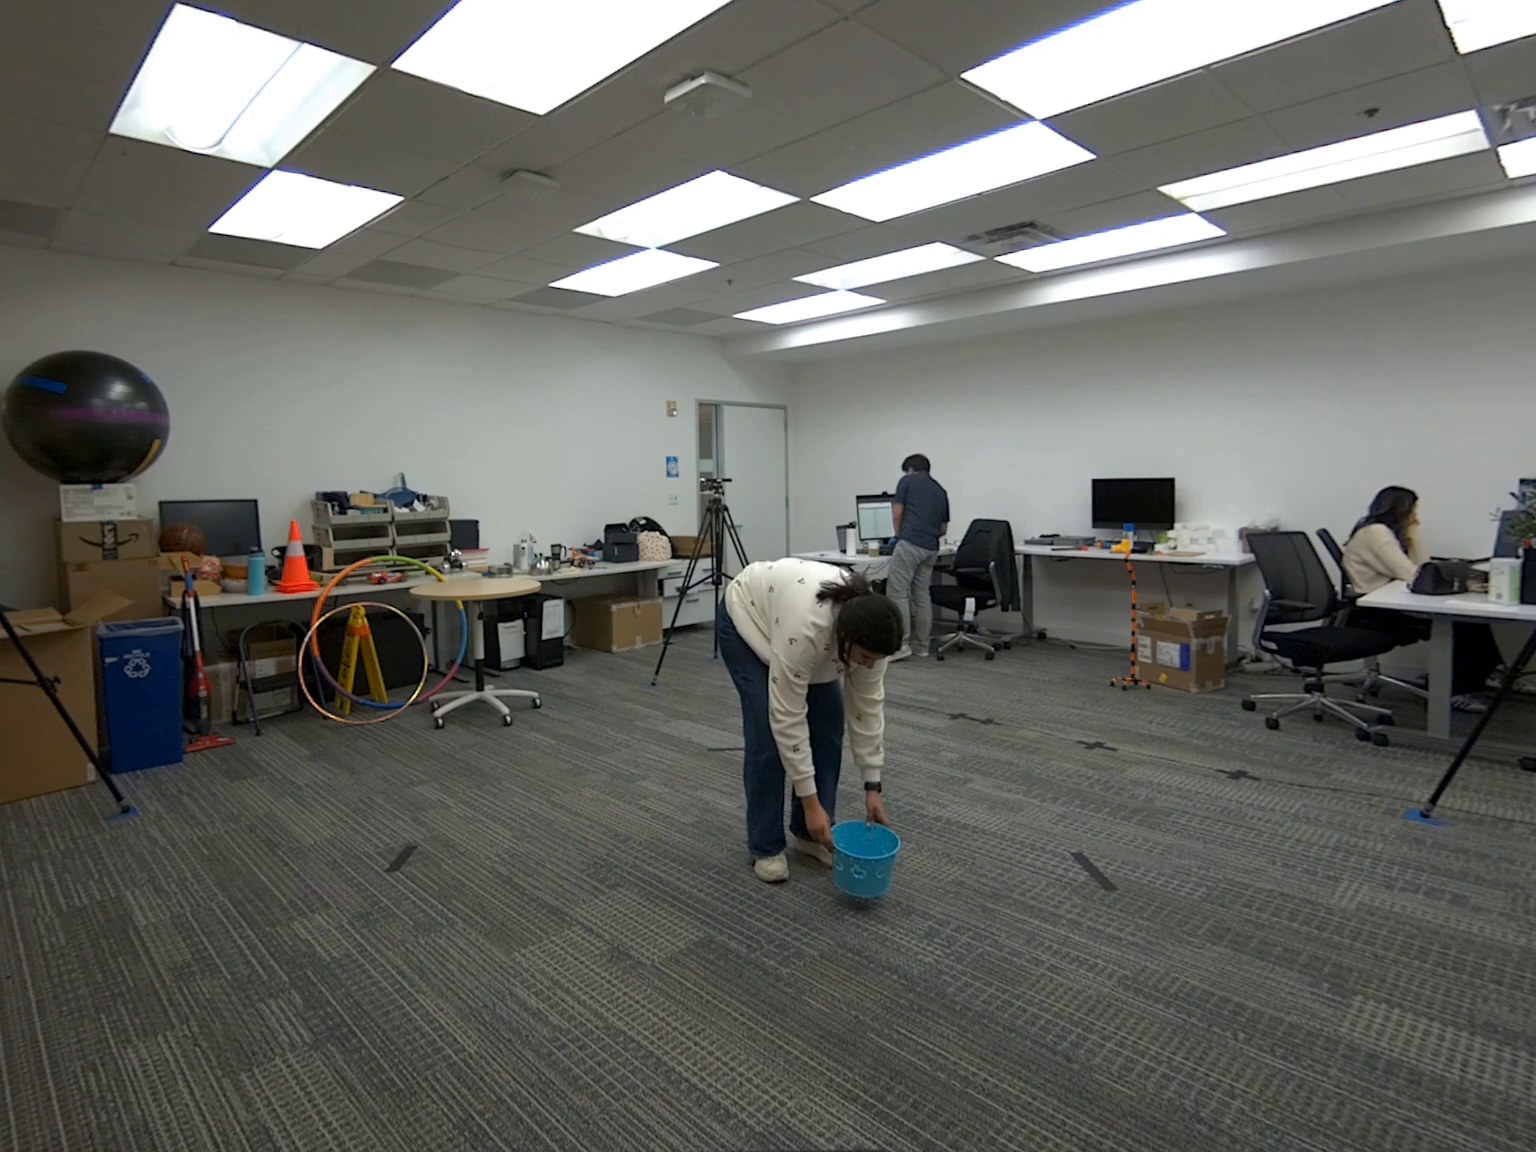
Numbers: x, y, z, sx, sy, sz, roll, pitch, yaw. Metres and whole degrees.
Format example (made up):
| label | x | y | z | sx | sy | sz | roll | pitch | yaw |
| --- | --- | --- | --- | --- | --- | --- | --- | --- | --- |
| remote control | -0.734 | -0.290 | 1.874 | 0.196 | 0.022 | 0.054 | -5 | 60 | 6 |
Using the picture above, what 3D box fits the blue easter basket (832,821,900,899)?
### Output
| label | x | y | z | sx | sy | sz | roll | pitch | yaw |
| --- | --- | --- | --- | --- | --- | --- | --- | --- | --- |
| blue easter basket | 0.322 | 0.920 | 2.791 | 0.243 | 0.154 | 0.246 | 2 | 11 | -2 |
